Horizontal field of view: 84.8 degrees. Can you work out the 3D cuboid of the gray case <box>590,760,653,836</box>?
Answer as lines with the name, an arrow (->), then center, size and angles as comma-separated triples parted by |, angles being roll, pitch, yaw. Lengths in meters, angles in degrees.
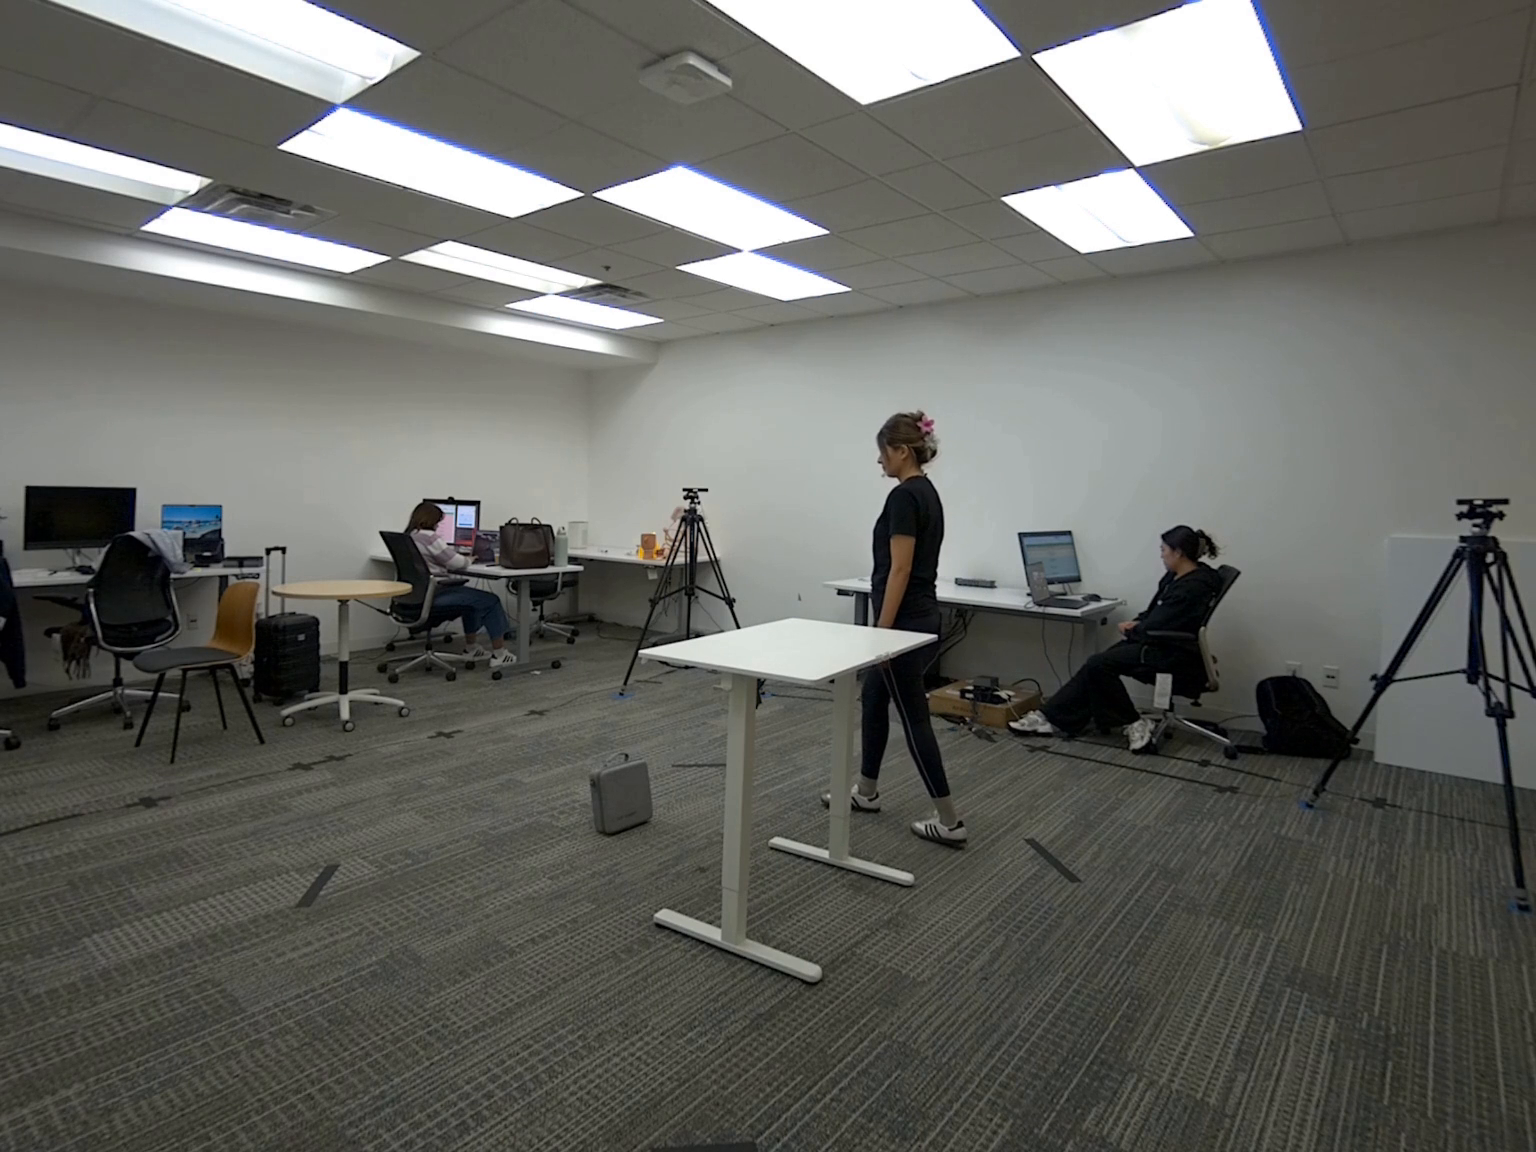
gray case -> -0.618, 0.895, 3.500 | 0.107, 0.262, 0.249 | -12, -6, 43
